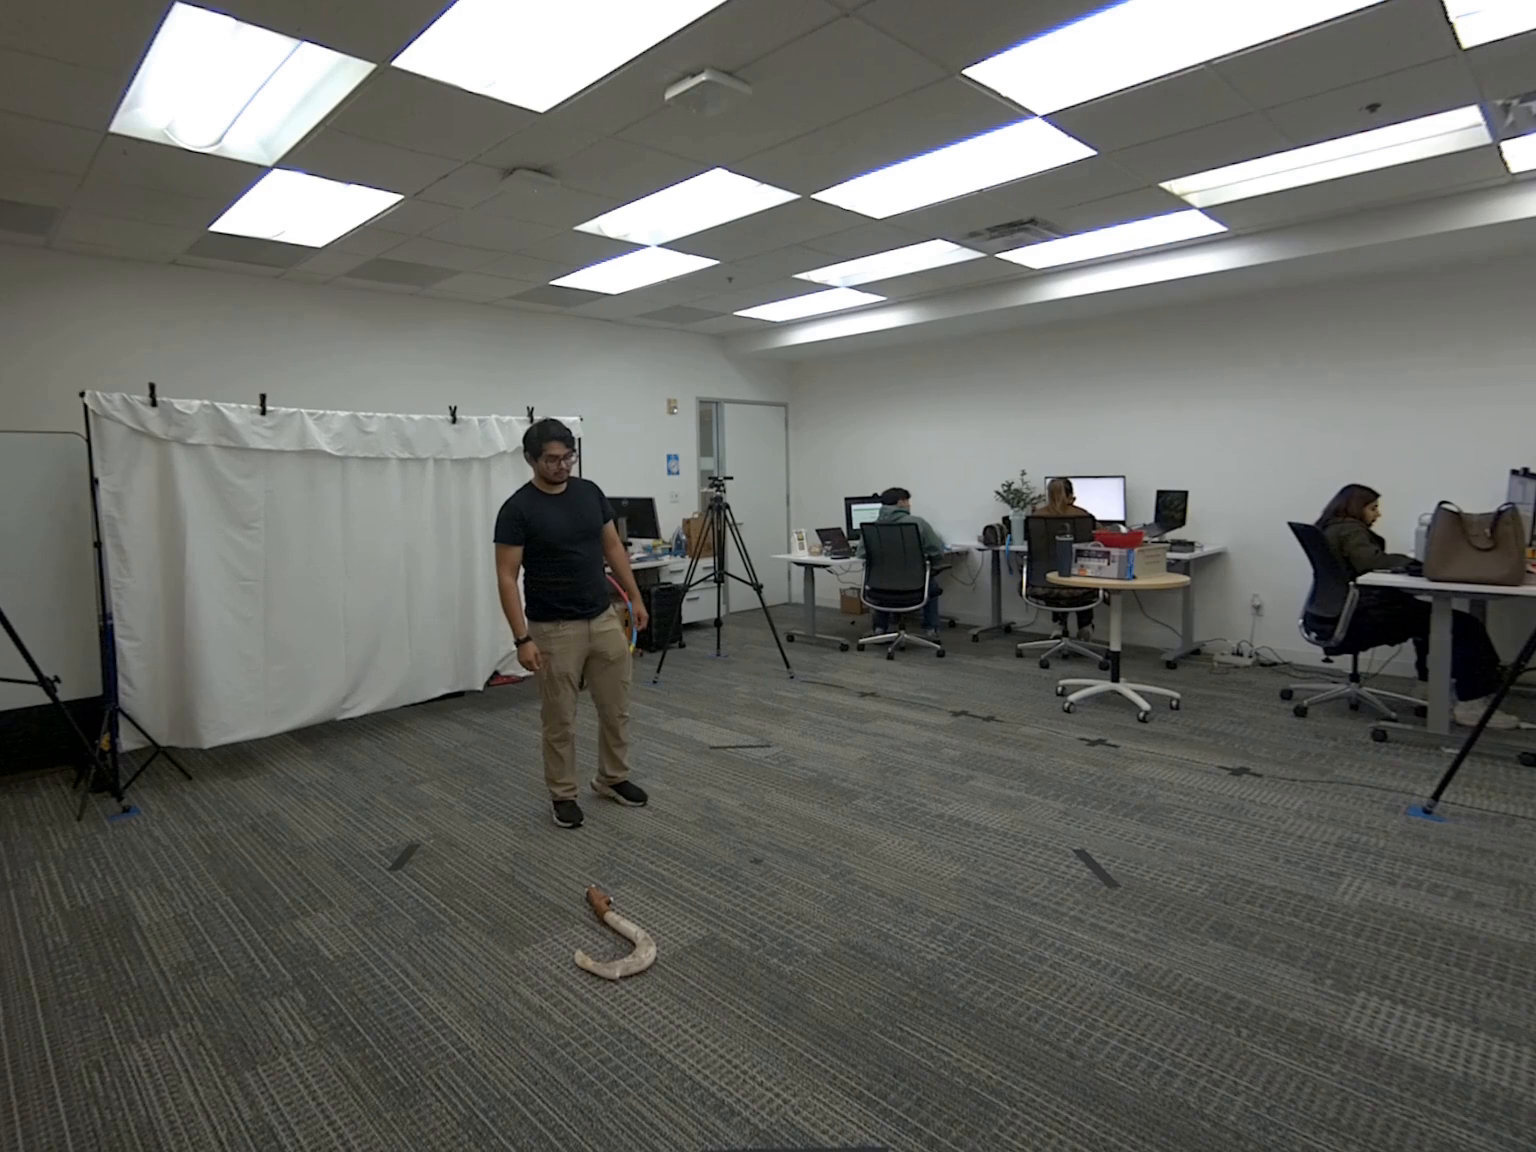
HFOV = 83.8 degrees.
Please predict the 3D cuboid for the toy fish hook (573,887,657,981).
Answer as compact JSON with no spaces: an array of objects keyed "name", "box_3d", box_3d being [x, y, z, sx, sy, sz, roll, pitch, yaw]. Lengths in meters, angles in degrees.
[{"name":"toy fish hook","box_3d":[-0.510,1.088,2.618,0.219,0.048,0.520,-5,7,-29]}]
